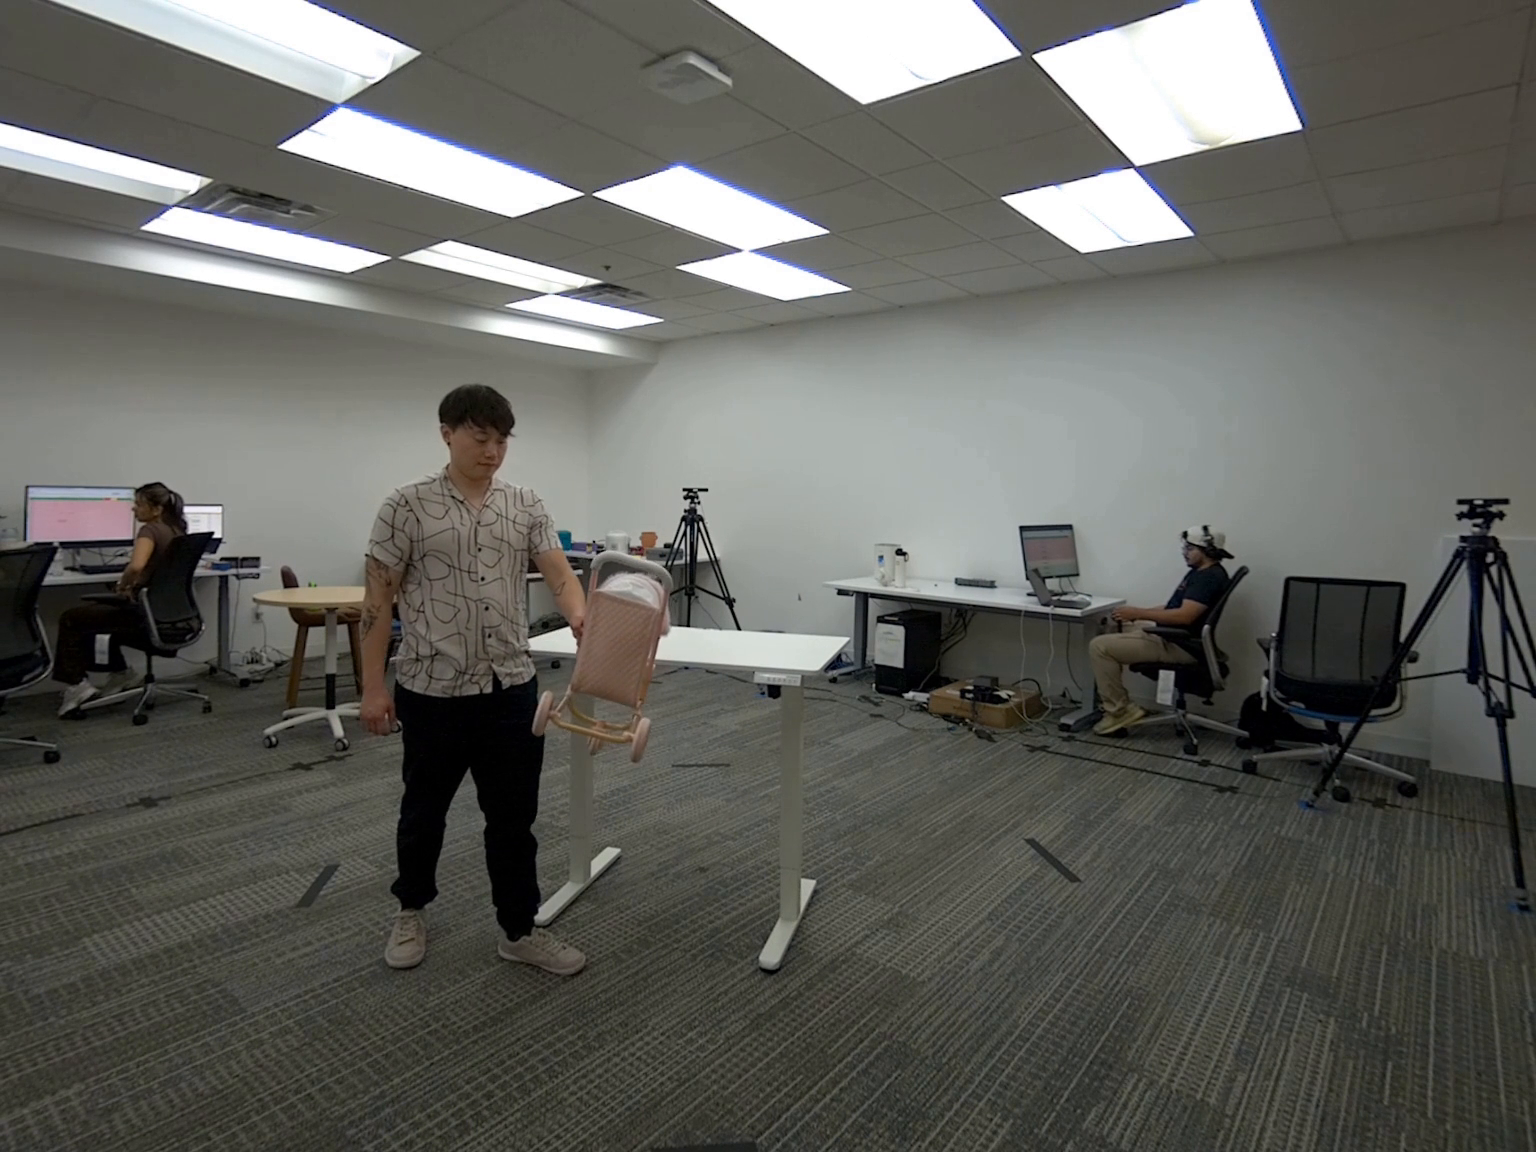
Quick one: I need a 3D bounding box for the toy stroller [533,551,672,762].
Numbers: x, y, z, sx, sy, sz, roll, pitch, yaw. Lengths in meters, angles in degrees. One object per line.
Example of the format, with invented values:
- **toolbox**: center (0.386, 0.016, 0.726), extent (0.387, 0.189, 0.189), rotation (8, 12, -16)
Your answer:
- **toy stroller**: center (-0.406, 0.220, 2.206), extent (0.283, 0.537, 0.339), rotation (13, -4, 3)
